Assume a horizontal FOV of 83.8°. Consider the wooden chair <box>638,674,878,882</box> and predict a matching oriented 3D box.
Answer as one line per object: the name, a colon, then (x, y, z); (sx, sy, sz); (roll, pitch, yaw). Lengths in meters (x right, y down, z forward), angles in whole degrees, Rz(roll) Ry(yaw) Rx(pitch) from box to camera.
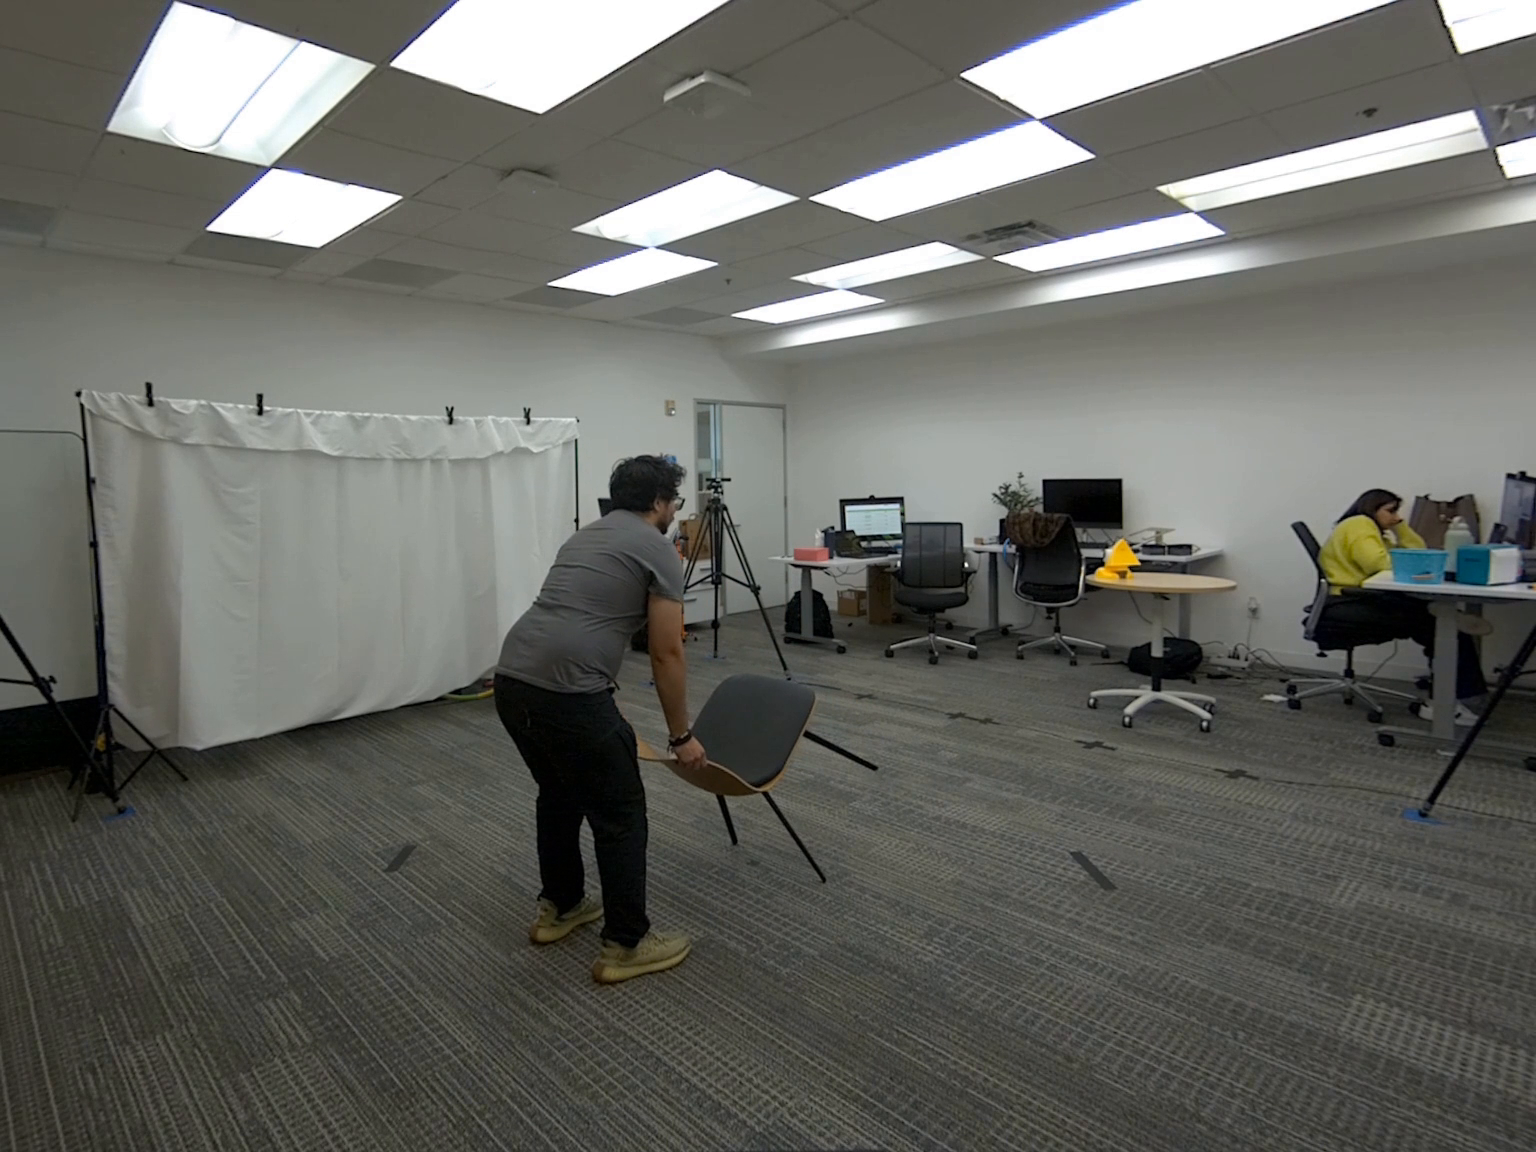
wooden chair: (-0.069, 0.590, 2.978); (0.493, 0.527, 0.845); (4, -33, 44)
